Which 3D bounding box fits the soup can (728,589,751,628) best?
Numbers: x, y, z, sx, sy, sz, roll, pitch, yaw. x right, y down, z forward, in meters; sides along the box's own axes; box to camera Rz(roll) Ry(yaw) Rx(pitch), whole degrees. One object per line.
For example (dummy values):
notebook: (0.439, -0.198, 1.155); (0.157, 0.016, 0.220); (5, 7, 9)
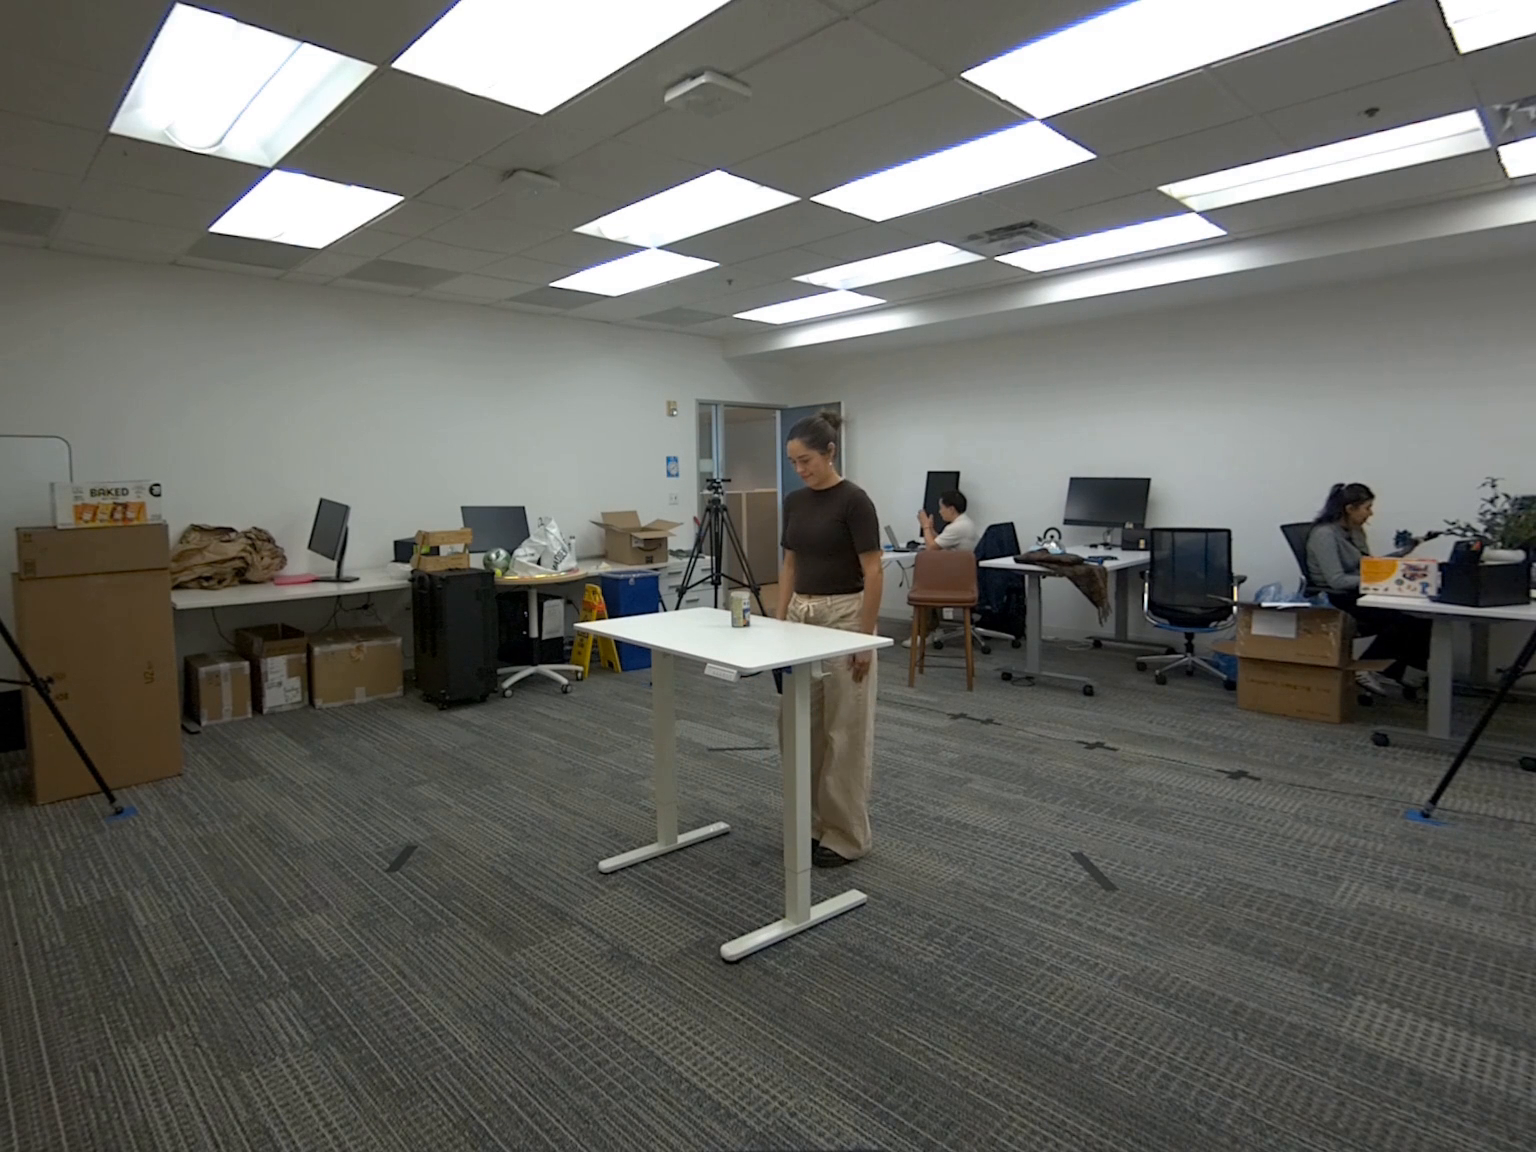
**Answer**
soup can: (-0.092, 0.118, 2.982); (0.067, 0.121, 0.067); (0, 3, -2)
